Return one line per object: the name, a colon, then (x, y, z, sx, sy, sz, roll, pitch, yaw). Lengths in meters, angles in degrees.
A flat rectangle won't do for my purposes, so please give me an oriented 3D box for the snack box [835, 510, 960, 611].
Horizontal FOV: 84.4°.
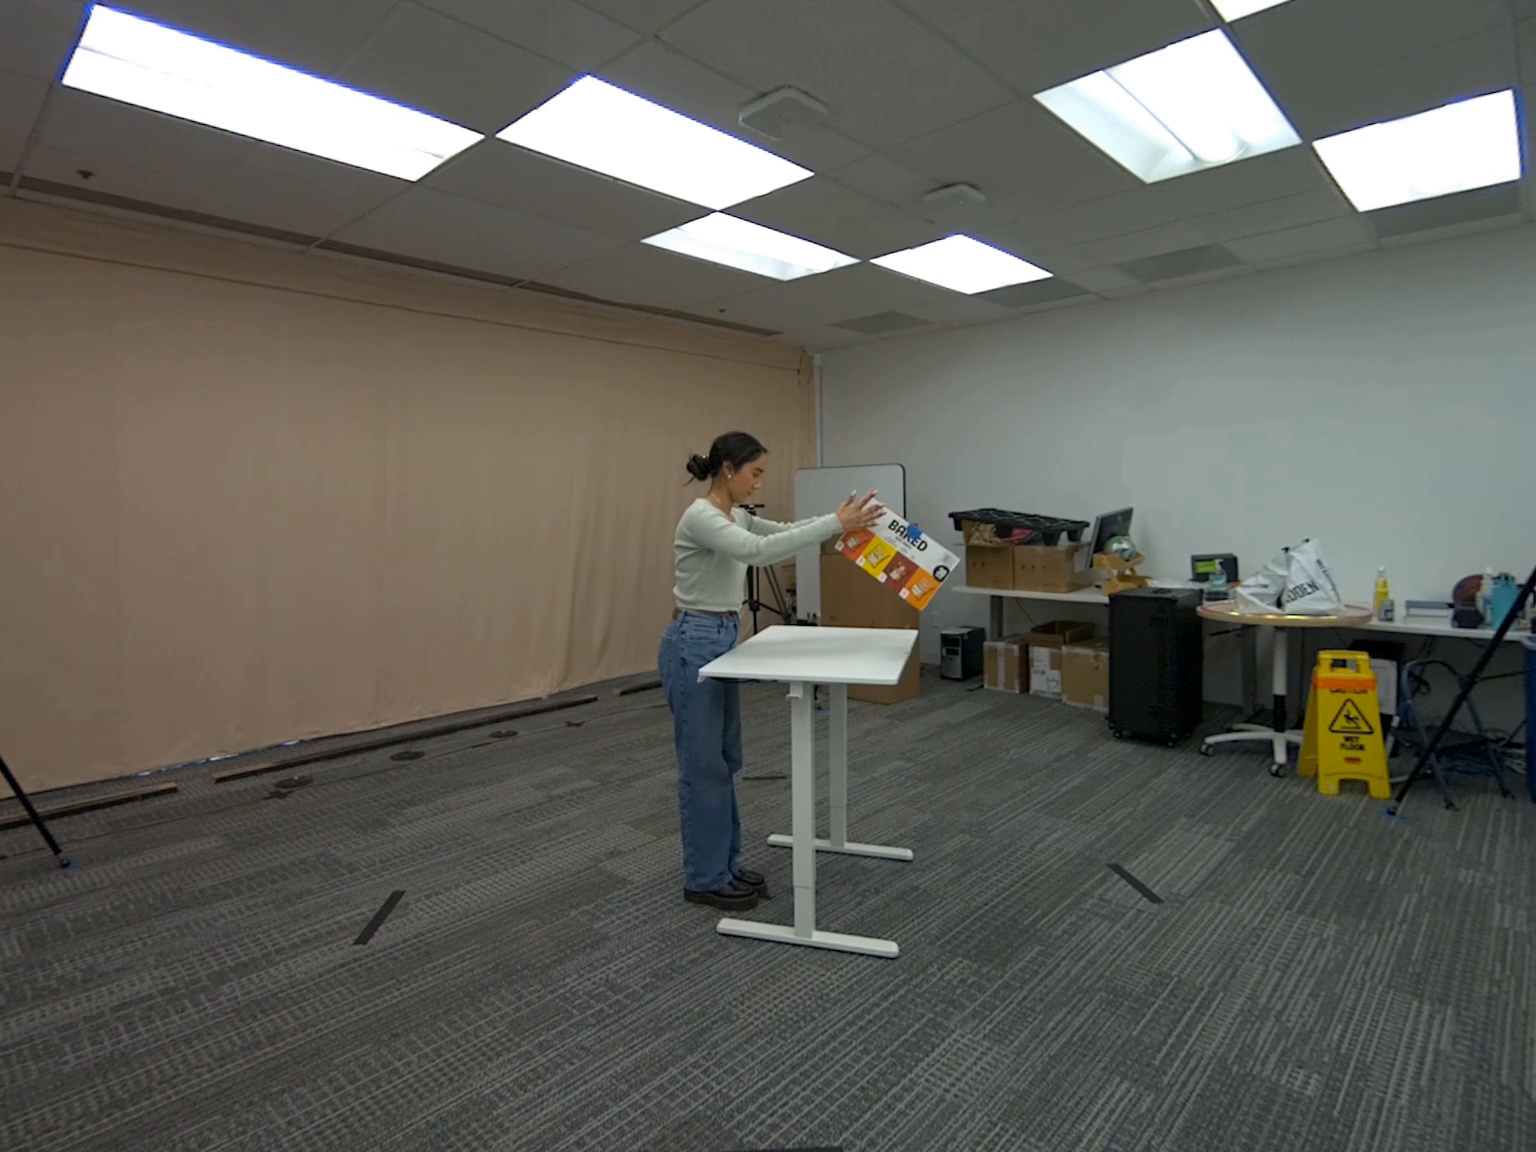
snack box: (0.432, -0.070, 2.824, 0.346, 0.206, 0.399, 38, 6, 11)
